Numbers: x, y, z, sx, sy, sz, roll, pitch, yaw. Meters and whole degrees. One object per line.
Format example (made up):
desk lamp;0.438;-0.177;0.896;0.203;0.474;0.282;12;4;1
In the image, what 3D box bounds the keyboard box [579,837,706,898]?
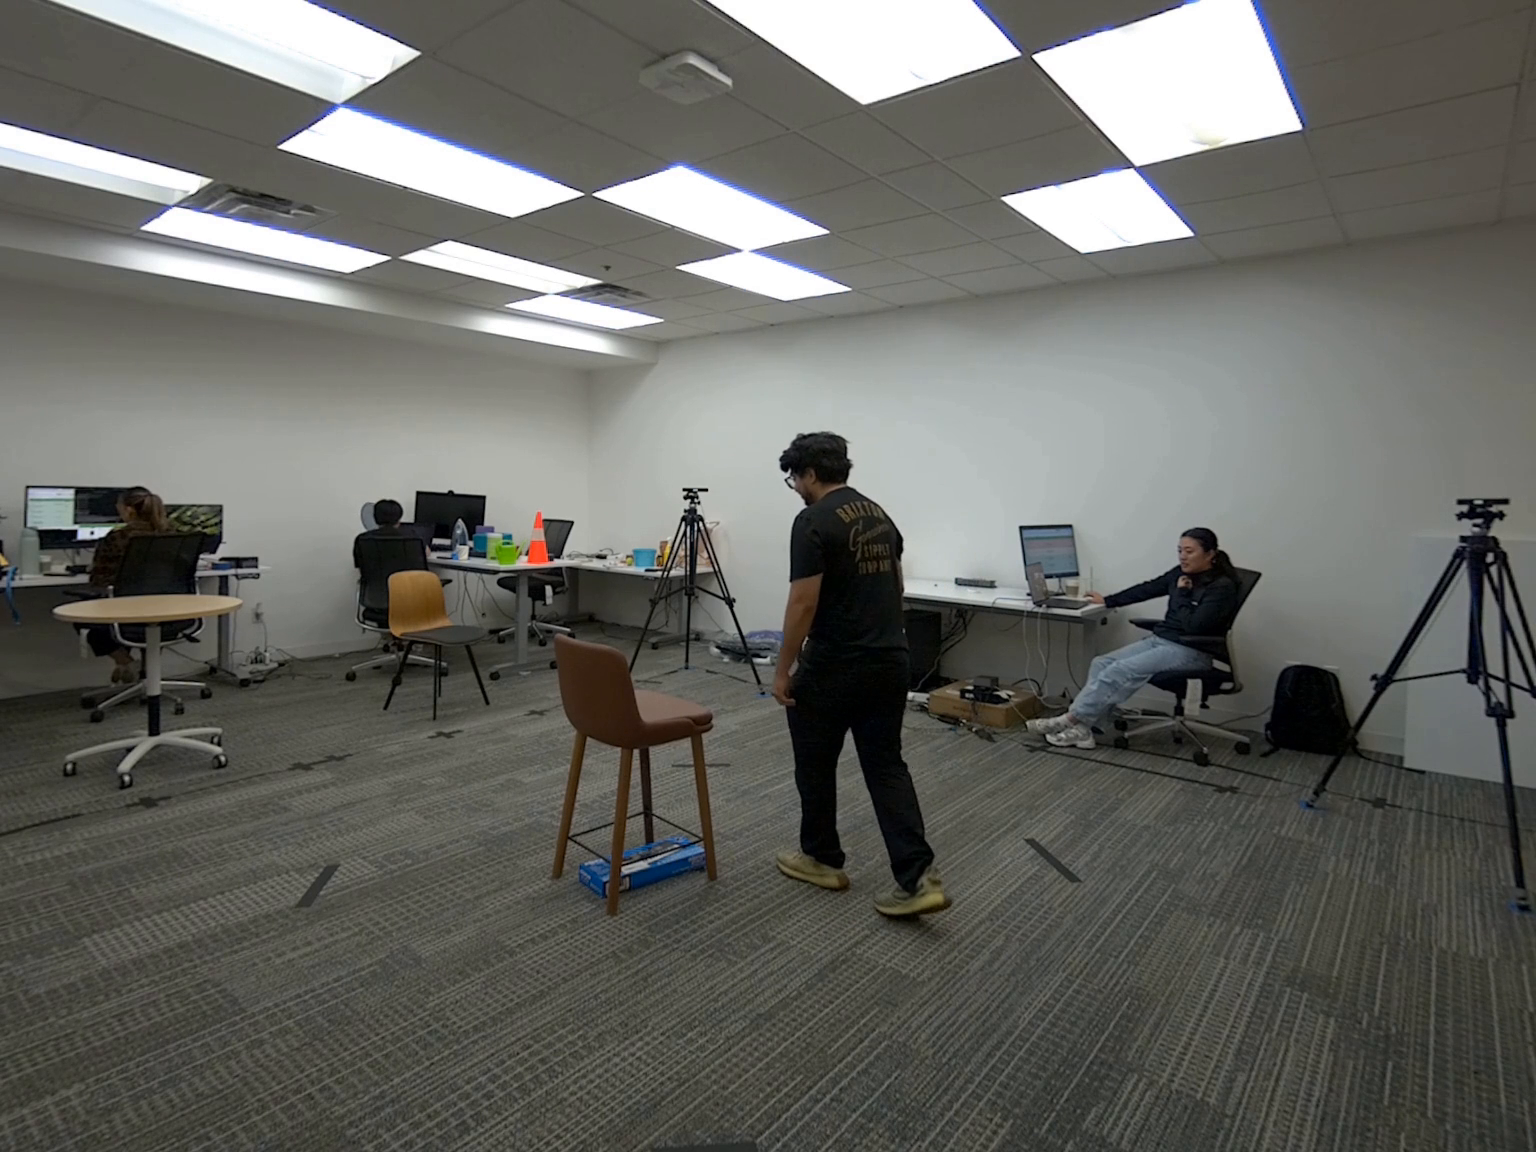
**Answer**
keyboard box;-0.457;1.042;3.064;0.424;0.059;0.182;-4;6;-38
